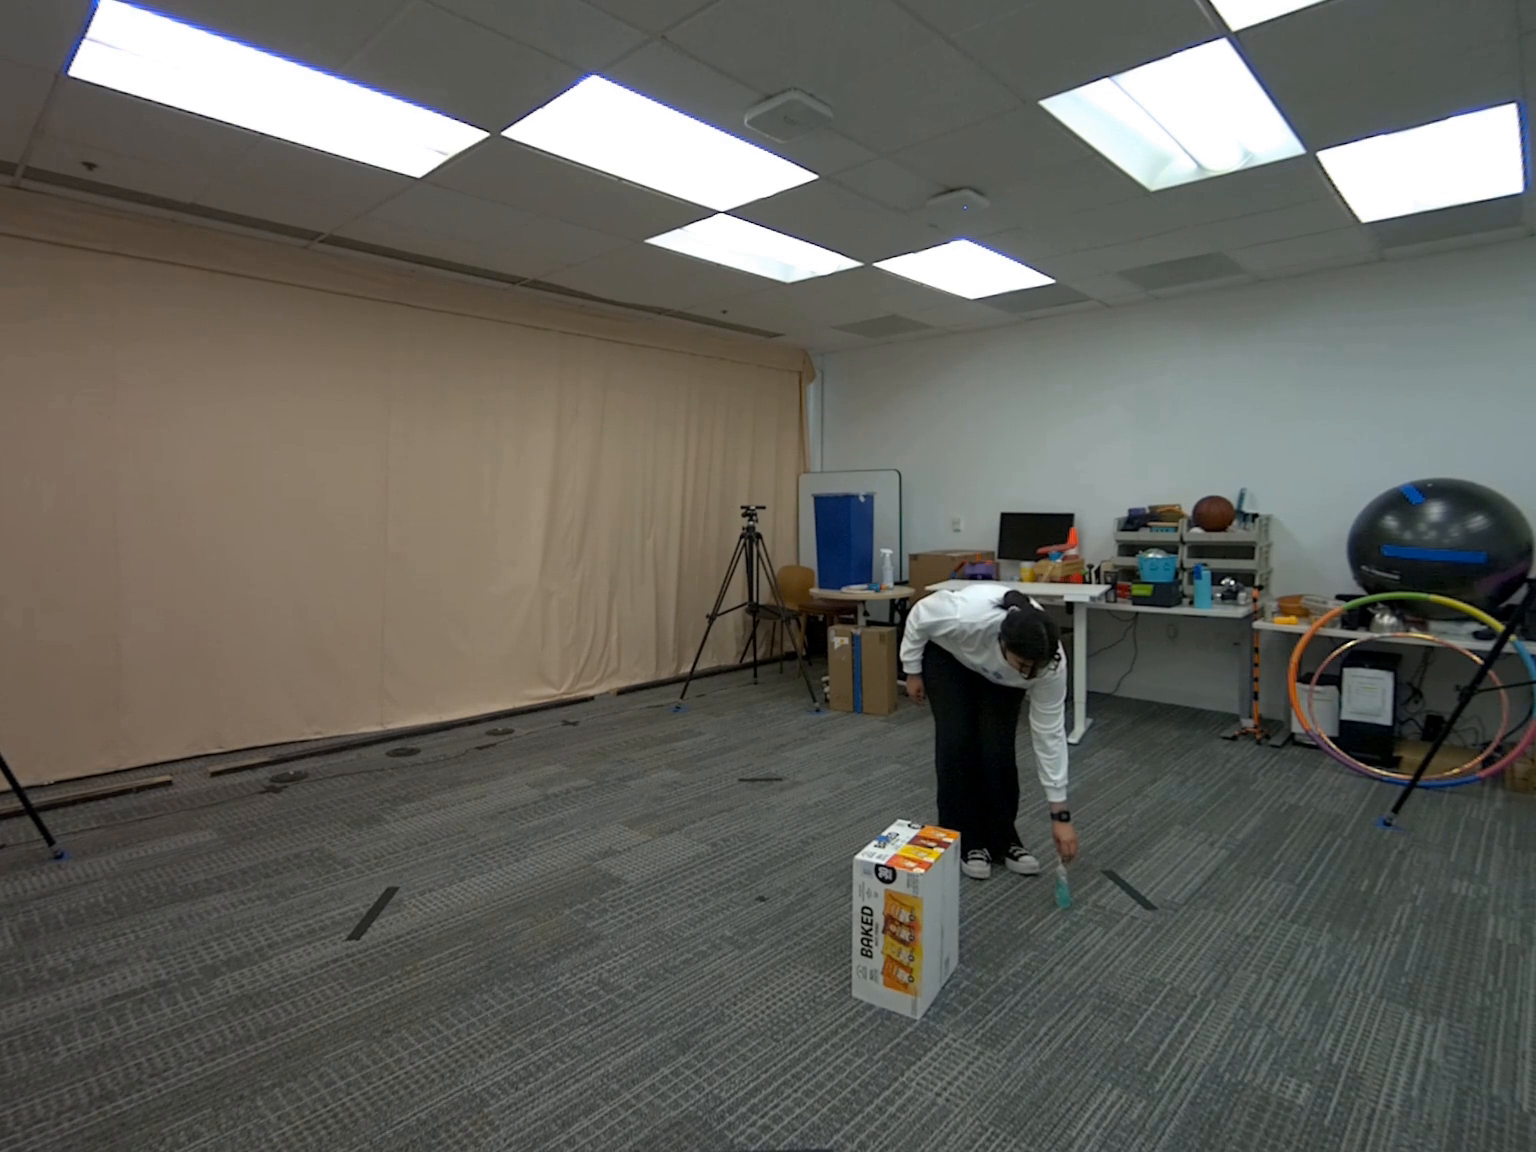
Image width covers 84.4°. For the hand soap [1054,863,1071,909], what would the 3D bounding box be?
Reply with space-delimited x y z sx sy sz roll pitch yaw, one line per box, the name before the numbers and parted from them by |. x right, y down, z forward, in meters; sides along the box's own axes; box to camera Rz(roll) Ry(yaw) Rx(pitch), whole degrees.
hand soap | 1.027 1.059 2.938 0.043 0.168 0.085 -1 4 -4
